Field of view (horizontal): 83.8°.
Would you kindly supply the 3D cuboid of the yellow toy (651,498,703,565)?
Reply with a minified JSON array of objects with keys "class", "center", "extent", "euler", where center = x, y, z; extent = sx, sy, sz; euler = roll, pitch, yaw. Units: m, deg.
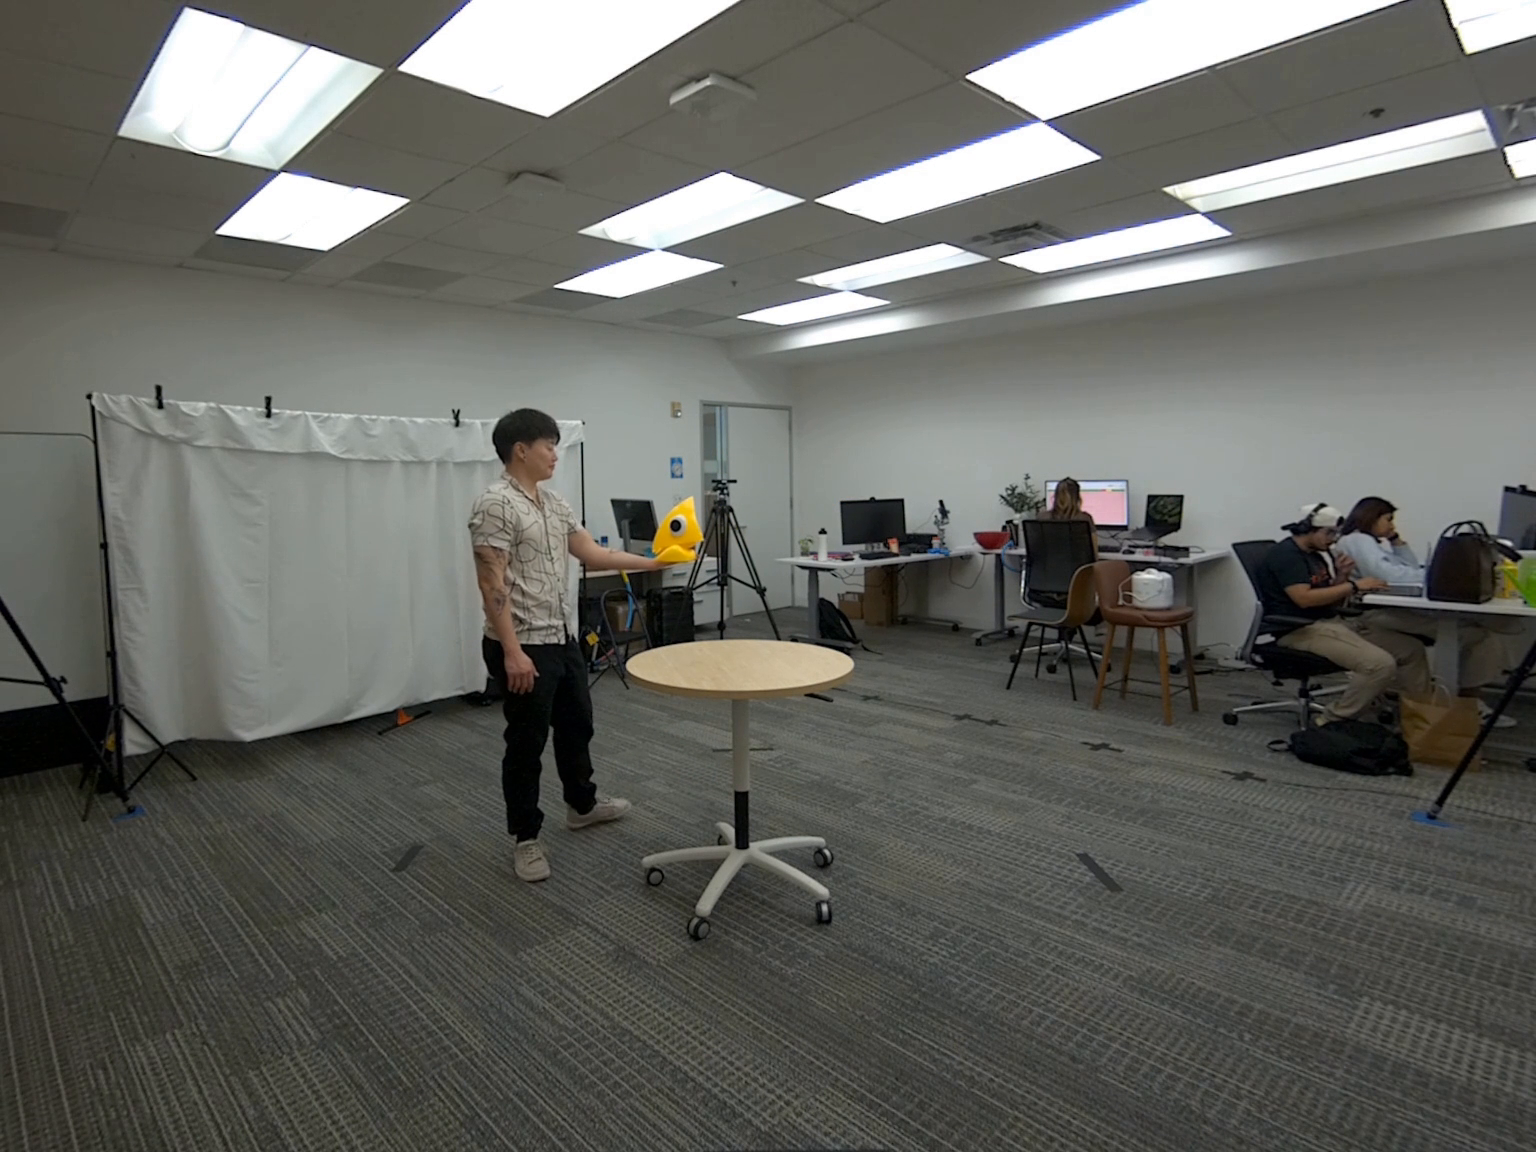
[{"class":"yellow toy","center":[-0.348,-0.191,3.286],"extent":[0.191,0.228,0.209],"euler":[-1,13,-12]}]
